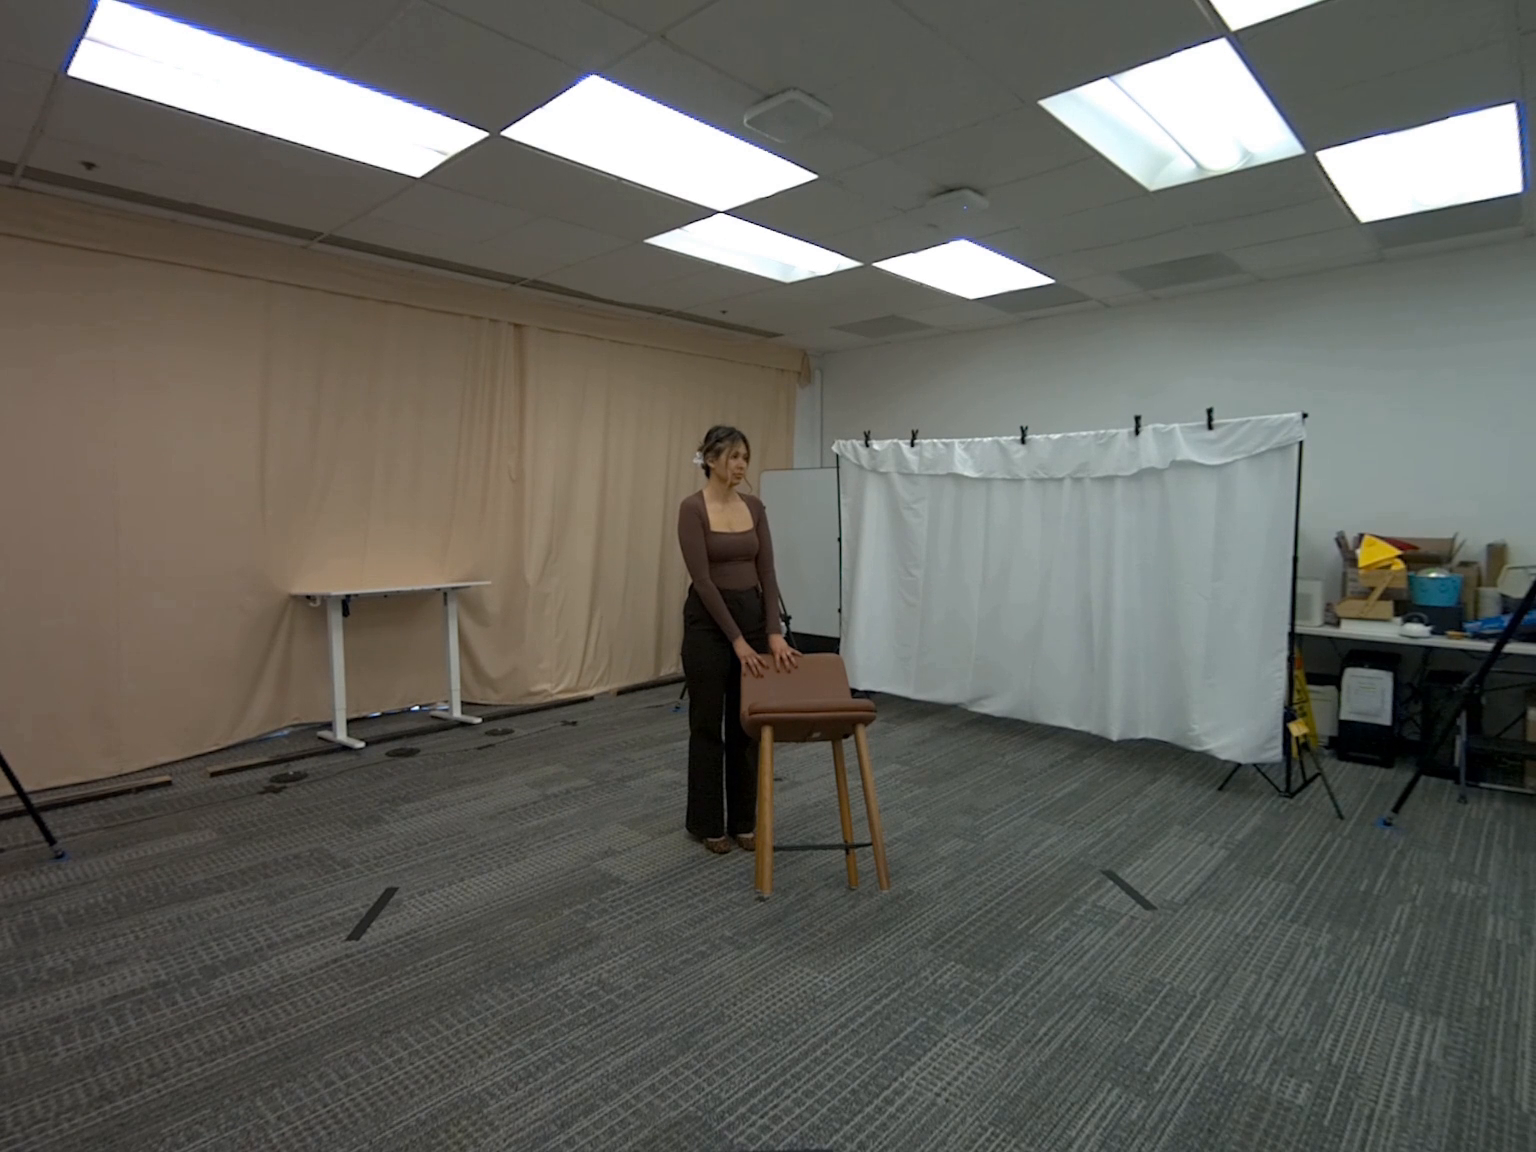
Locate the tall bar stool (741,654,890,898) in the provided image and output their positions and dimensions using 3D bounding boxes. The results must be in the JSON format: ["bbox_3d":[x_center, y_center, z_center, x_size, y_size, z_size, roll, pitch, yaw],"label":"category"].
[{"bbox_3d":[0.147,0.658,3.014,0.455,0.902,0.463,-1,-22,-4],"label":"tall bar stool"}]
